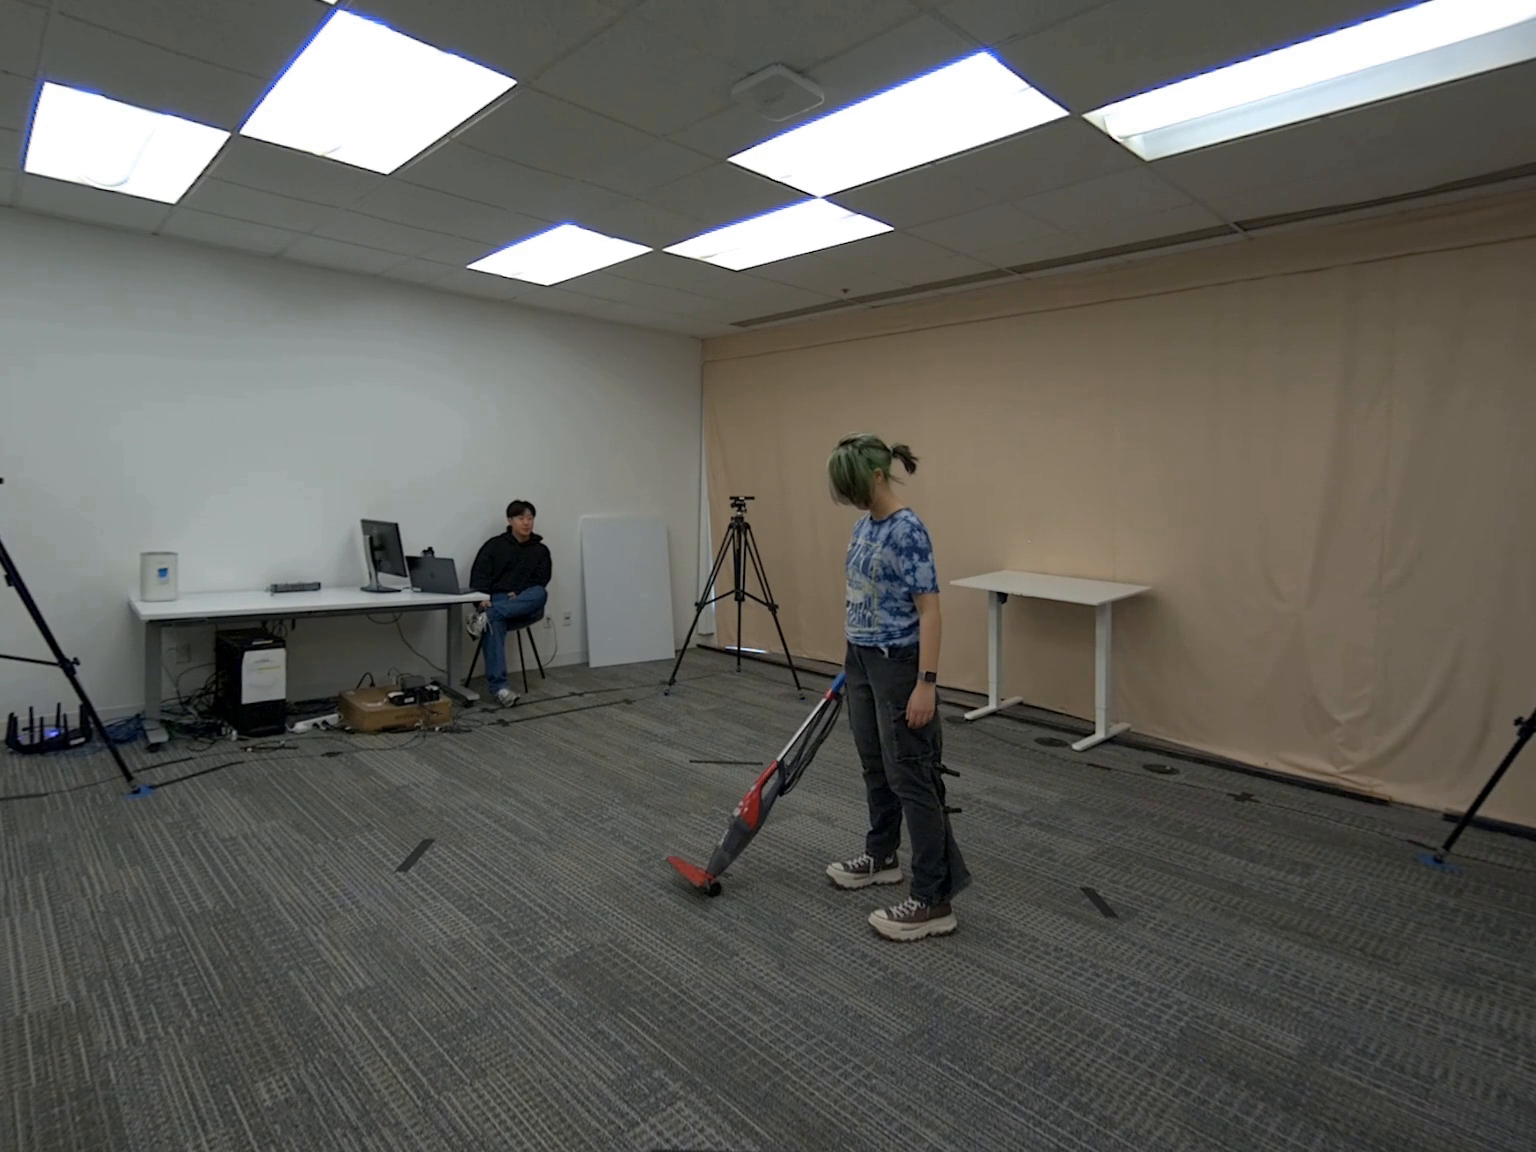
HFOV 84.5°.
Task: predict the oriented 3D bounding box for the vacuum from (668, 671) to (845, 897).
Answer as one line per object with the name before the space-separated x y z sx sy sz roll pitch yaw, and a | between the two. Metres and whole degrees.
vacuum | 0.065 0.715 3.121 1.049 0.140 0.259 -48 30 -19
